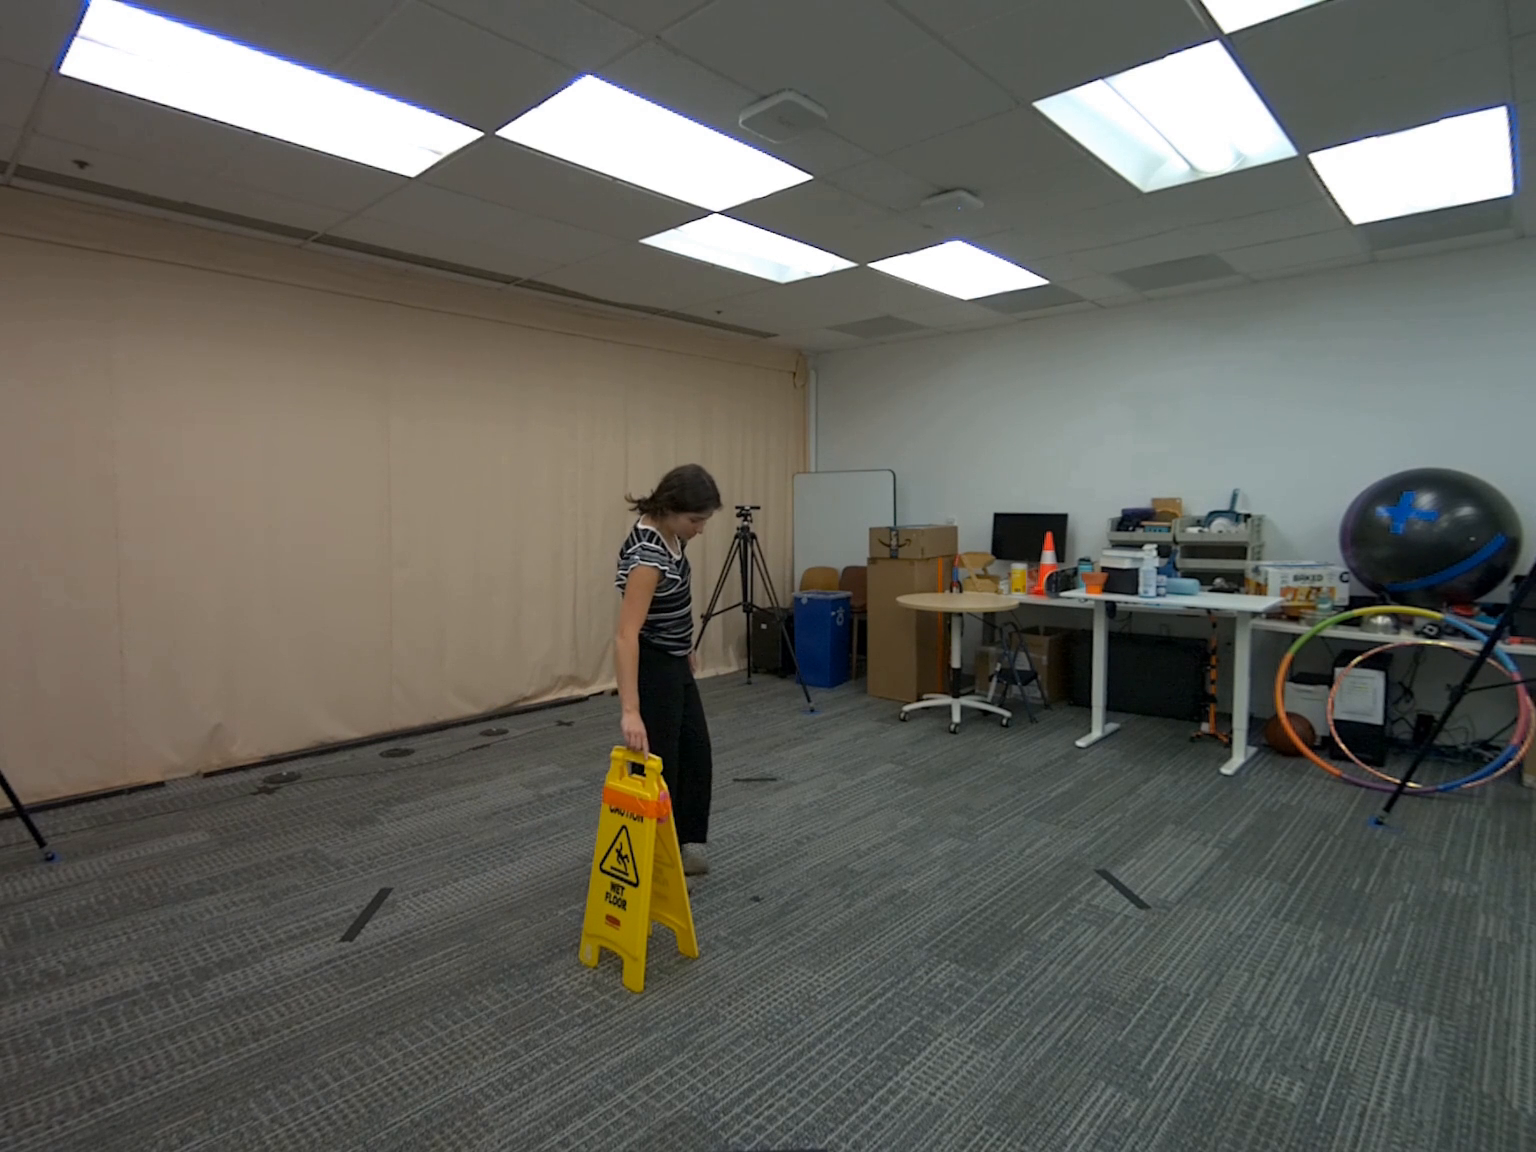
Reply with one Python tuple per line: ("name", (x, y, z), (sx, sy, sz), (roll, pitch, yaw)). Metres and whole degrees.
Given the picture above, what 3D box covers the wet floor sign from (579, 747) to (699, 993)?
("wet floor sign", (-0.398, 0.851, 2.571), (0.291, 0.644, 0.281), (2, 4, 40))
